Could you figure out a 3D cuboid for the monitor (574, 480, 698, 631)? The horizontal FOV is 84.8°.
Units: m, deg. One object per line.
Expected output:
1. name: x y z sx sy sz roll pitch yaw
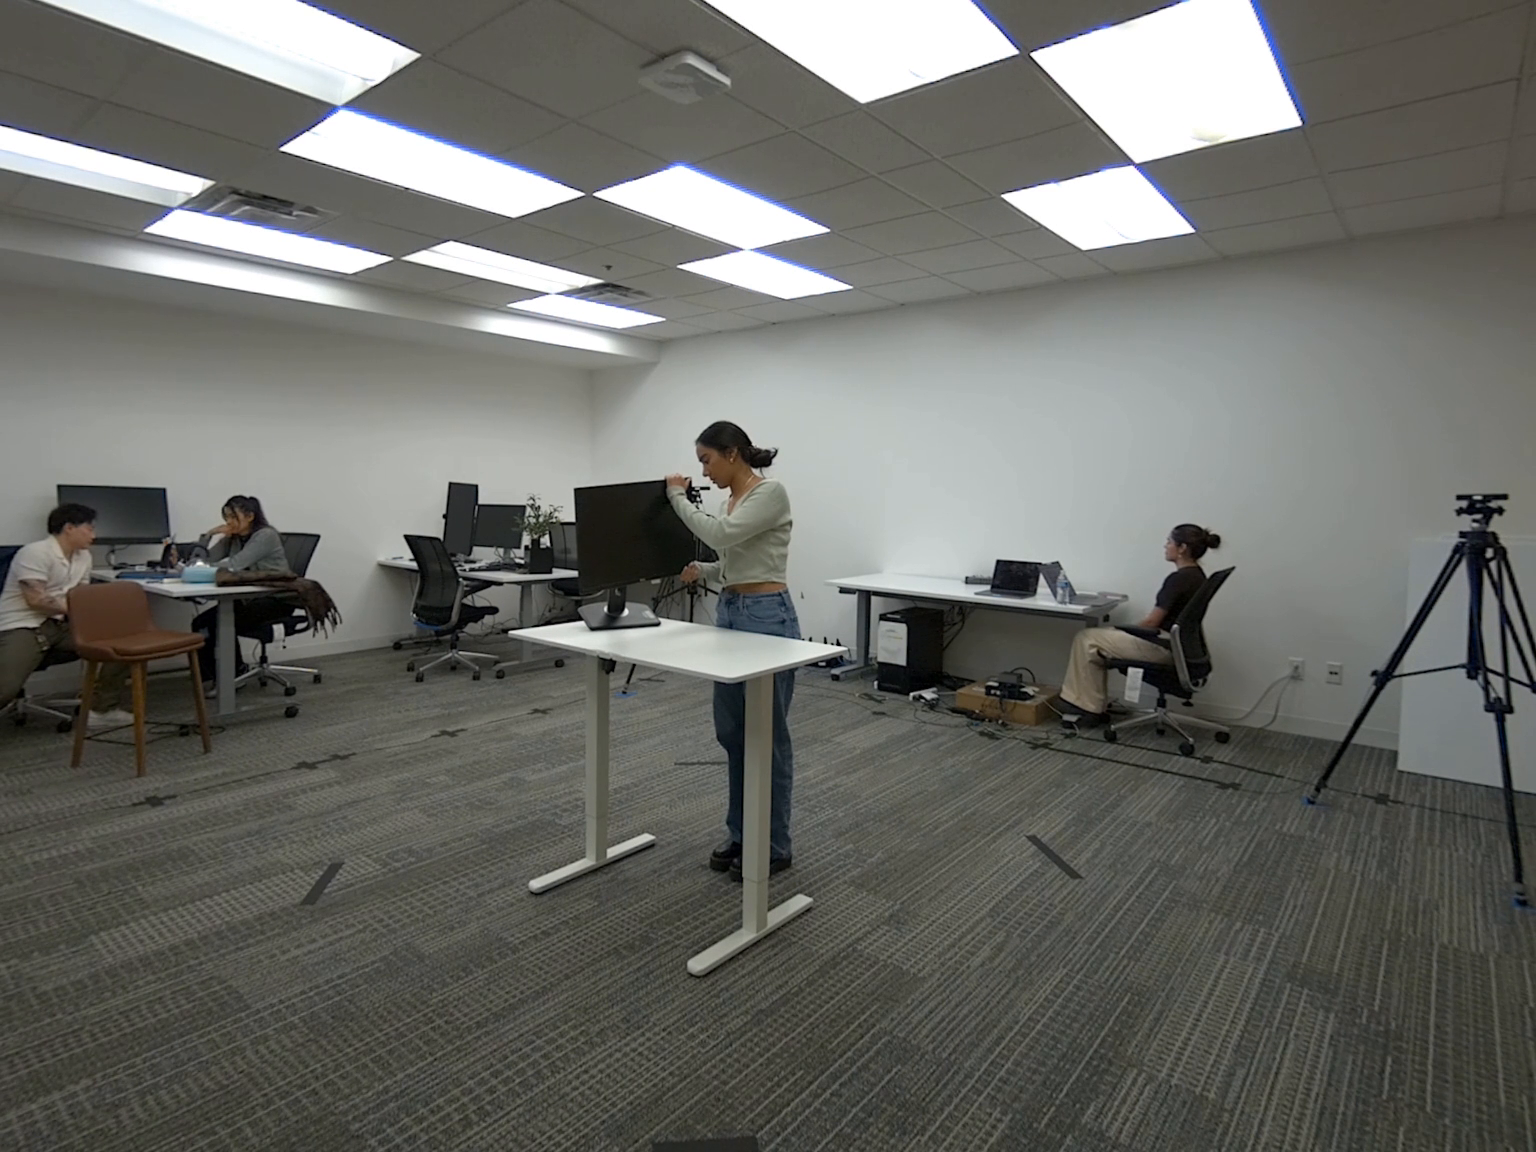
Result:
1. monitor: -0.506 -0.083 3.019 0.194 0.516 0.525 23 22 36
